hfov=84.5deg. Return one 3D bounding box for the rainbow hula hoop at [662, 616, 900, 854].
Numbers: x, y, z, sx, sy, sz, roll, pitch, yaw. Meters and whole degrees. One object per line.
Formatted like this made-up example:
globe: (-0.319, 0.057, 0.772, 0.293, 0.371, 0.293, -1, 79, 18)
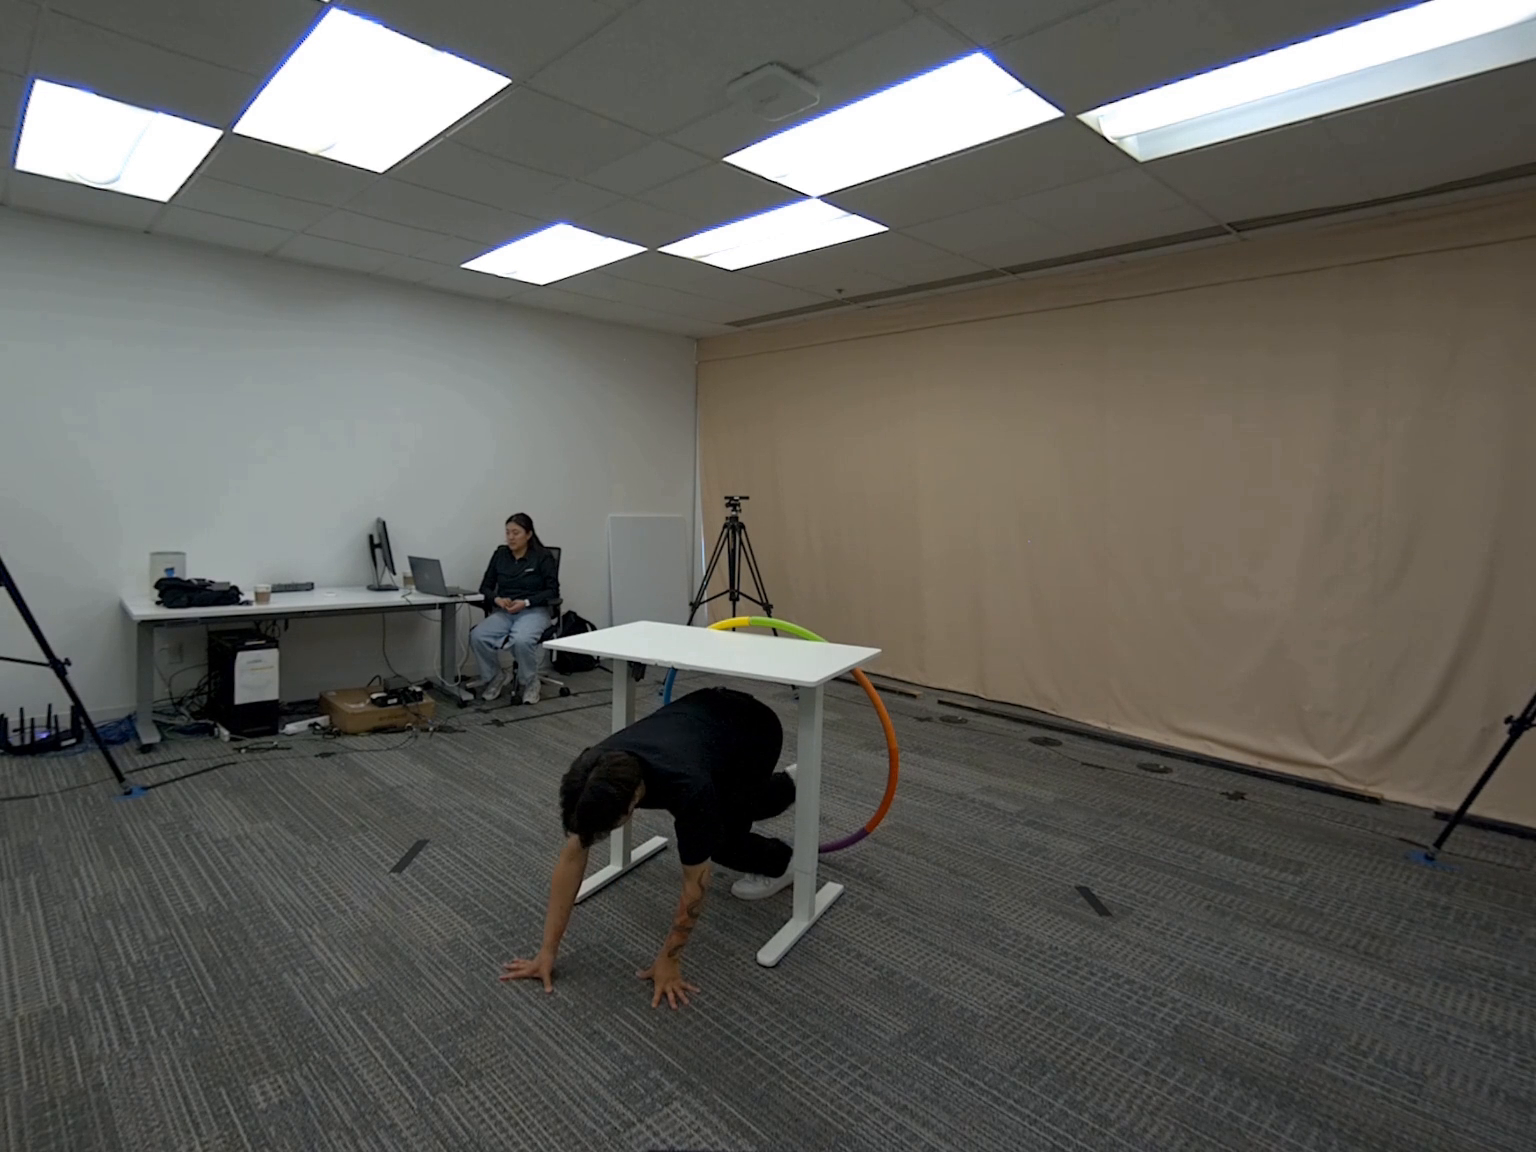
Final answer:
rainbow hula hoop: (0.007, 0.626, 3.228, 0.999, 0.968, 0.035, 4, 15, 29)
